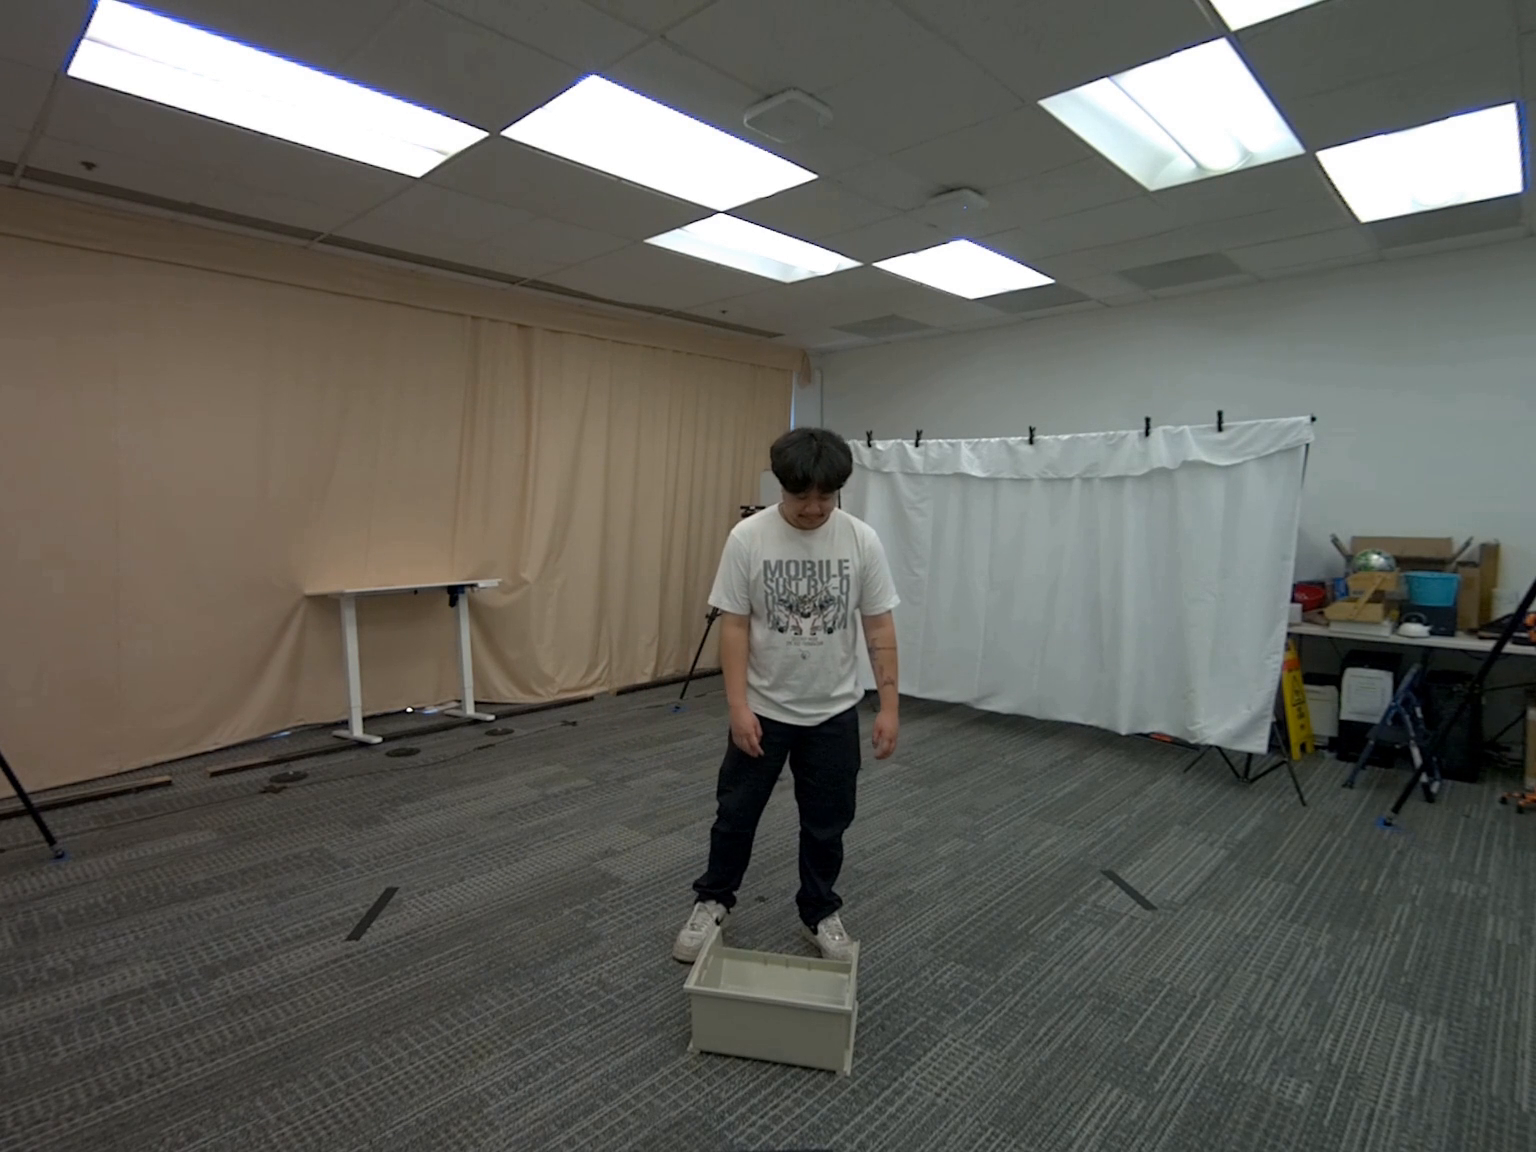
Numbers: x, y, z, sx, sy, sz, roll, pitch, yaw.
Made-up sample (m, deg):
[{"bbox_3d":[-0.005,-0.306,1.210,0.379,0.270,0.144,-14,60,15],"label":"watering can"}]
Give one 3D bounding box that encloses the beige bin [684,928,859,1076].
[{"bbox_3d":[0.025,1.114,2.263,0.428,0.188,0.373,2,5,11],"label":"beige bin"}]
